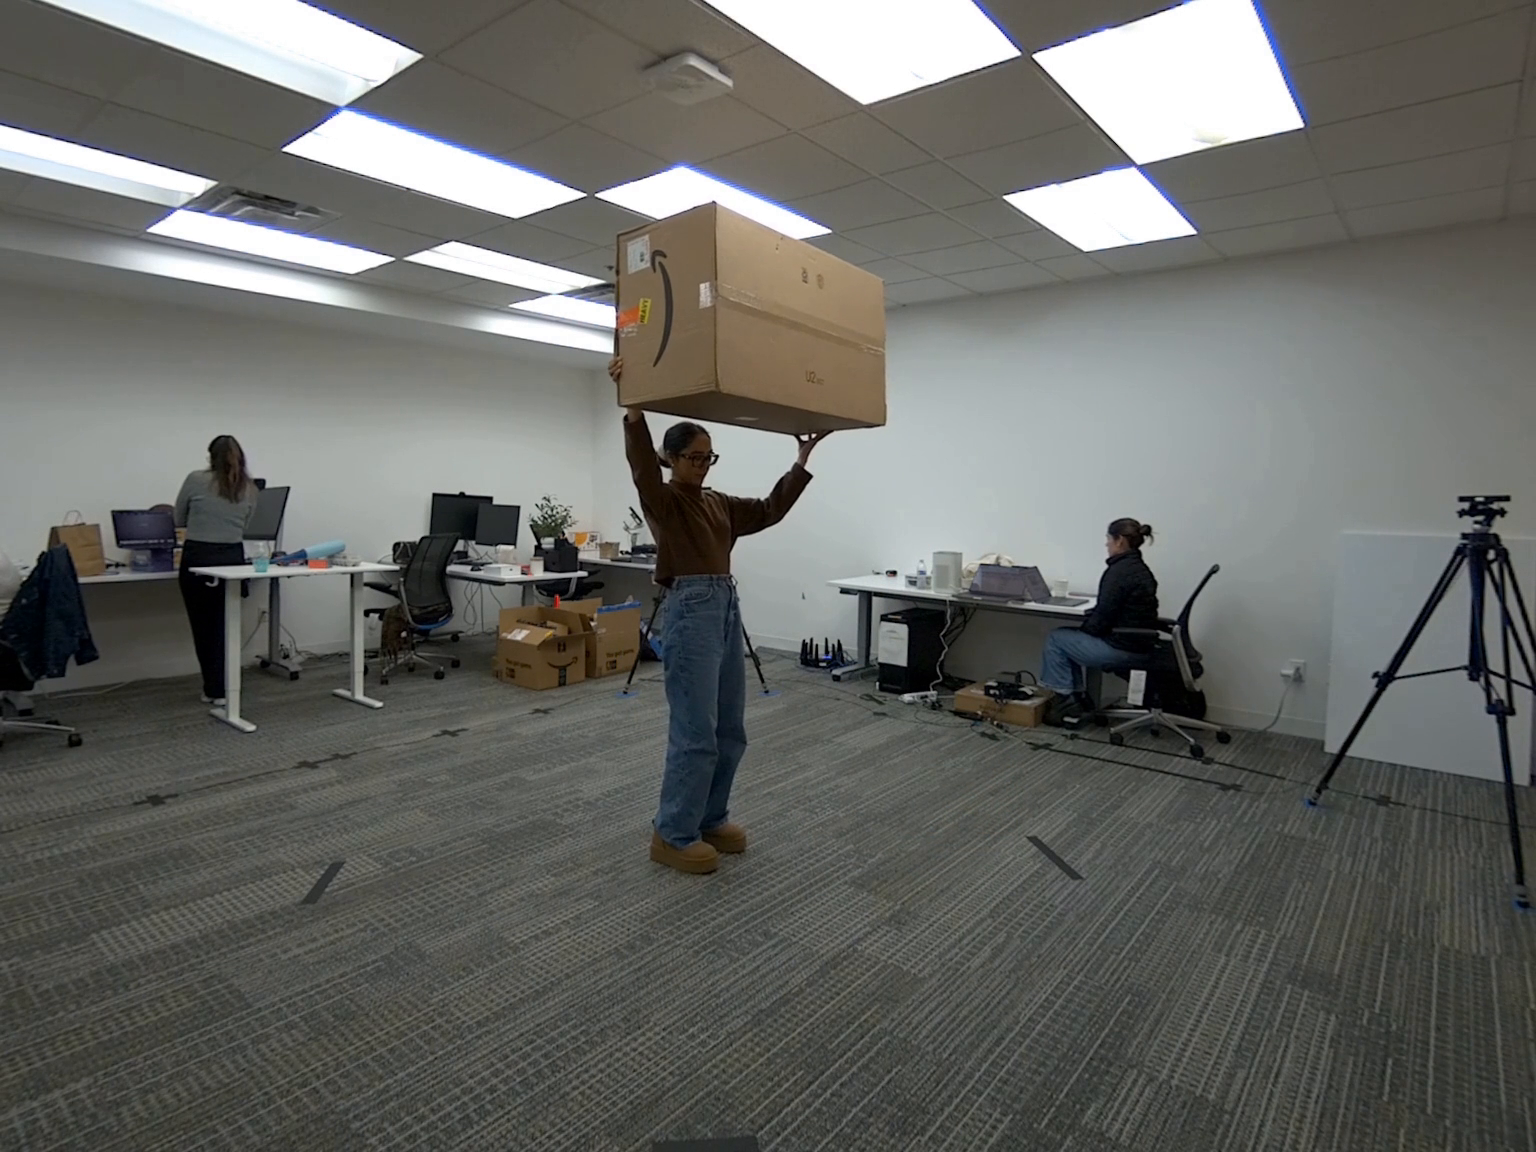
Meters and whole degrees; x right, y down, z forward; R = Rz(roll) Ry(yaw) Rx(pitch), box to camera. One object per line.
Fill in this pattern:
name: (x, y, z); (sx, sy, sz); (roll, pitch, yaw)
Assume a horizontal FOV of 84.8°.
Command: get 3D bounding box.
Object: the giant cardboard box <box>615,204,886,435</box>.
giant cardboard box: (-0.035, -0.848, 3.030); (0.439, 0.578, 0.995); (-1, 1, 39)
